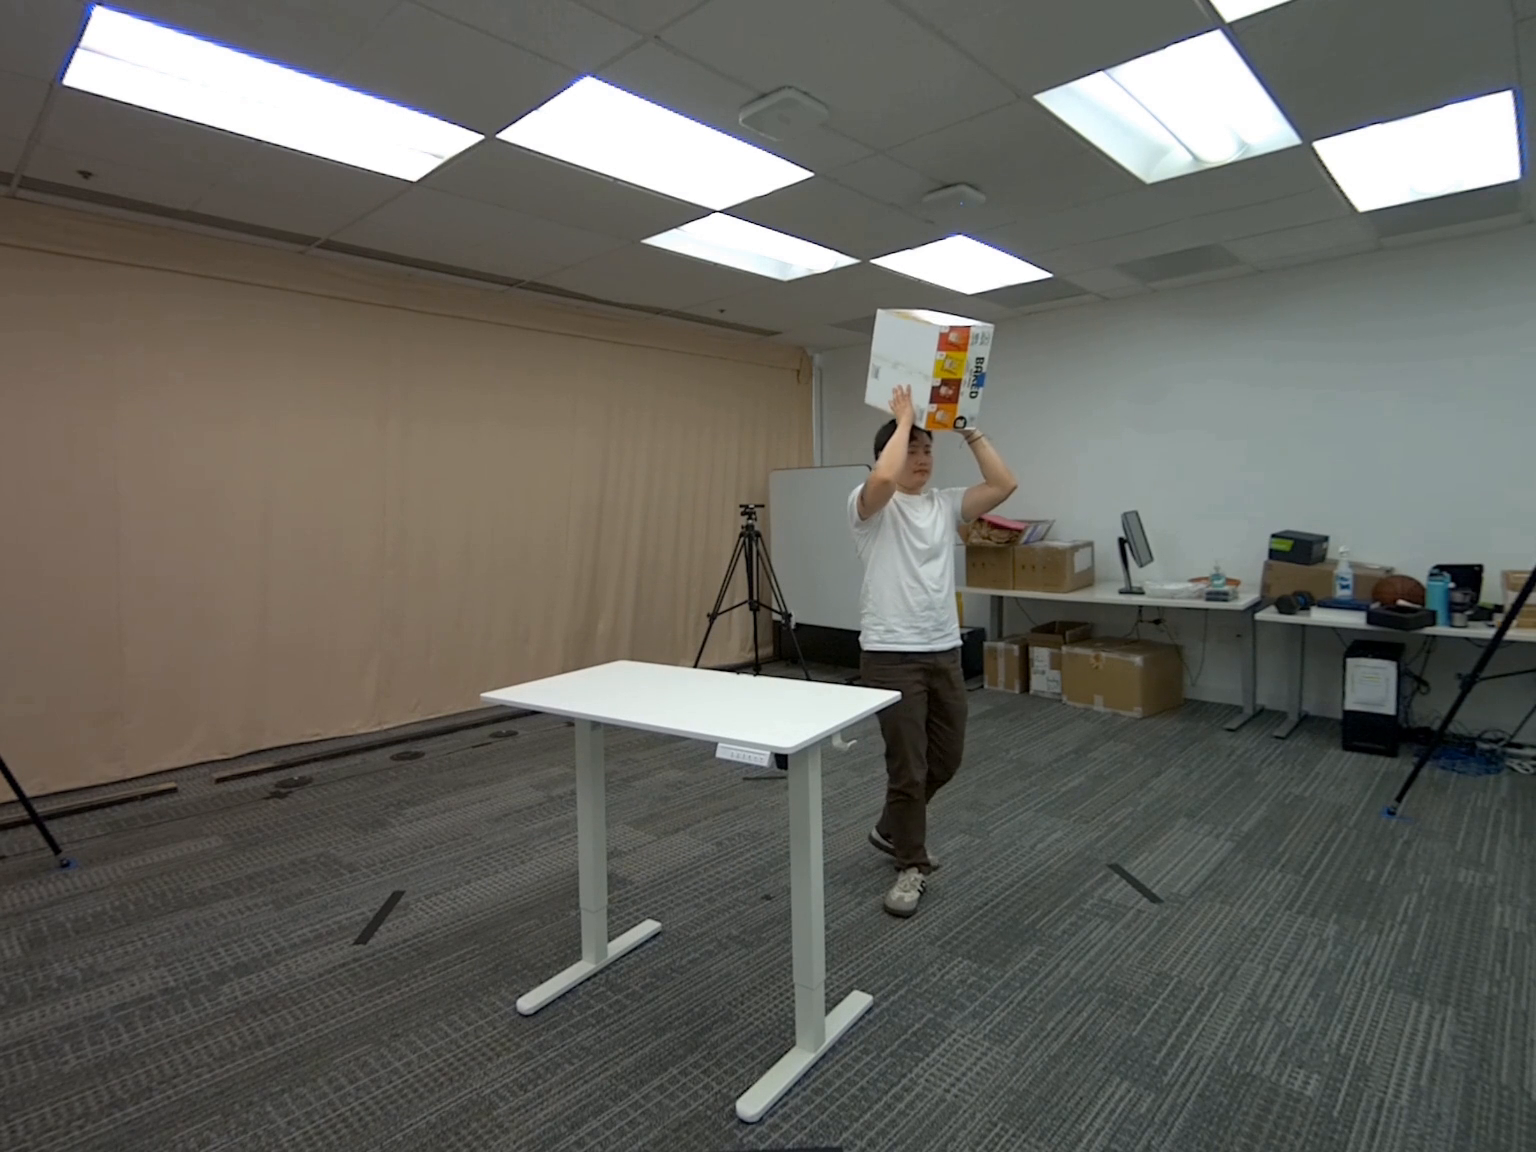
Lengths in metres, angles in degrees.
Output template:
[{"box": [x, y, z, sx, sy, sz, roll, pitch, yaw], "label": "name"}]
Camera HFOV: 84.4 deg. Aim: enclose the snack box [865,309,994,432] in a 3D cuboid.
[{"box": [0.545, -0.713, 2.884, 0.201, 0.337, 0.418, -3, 24, -23], "label": "snack box"}]
